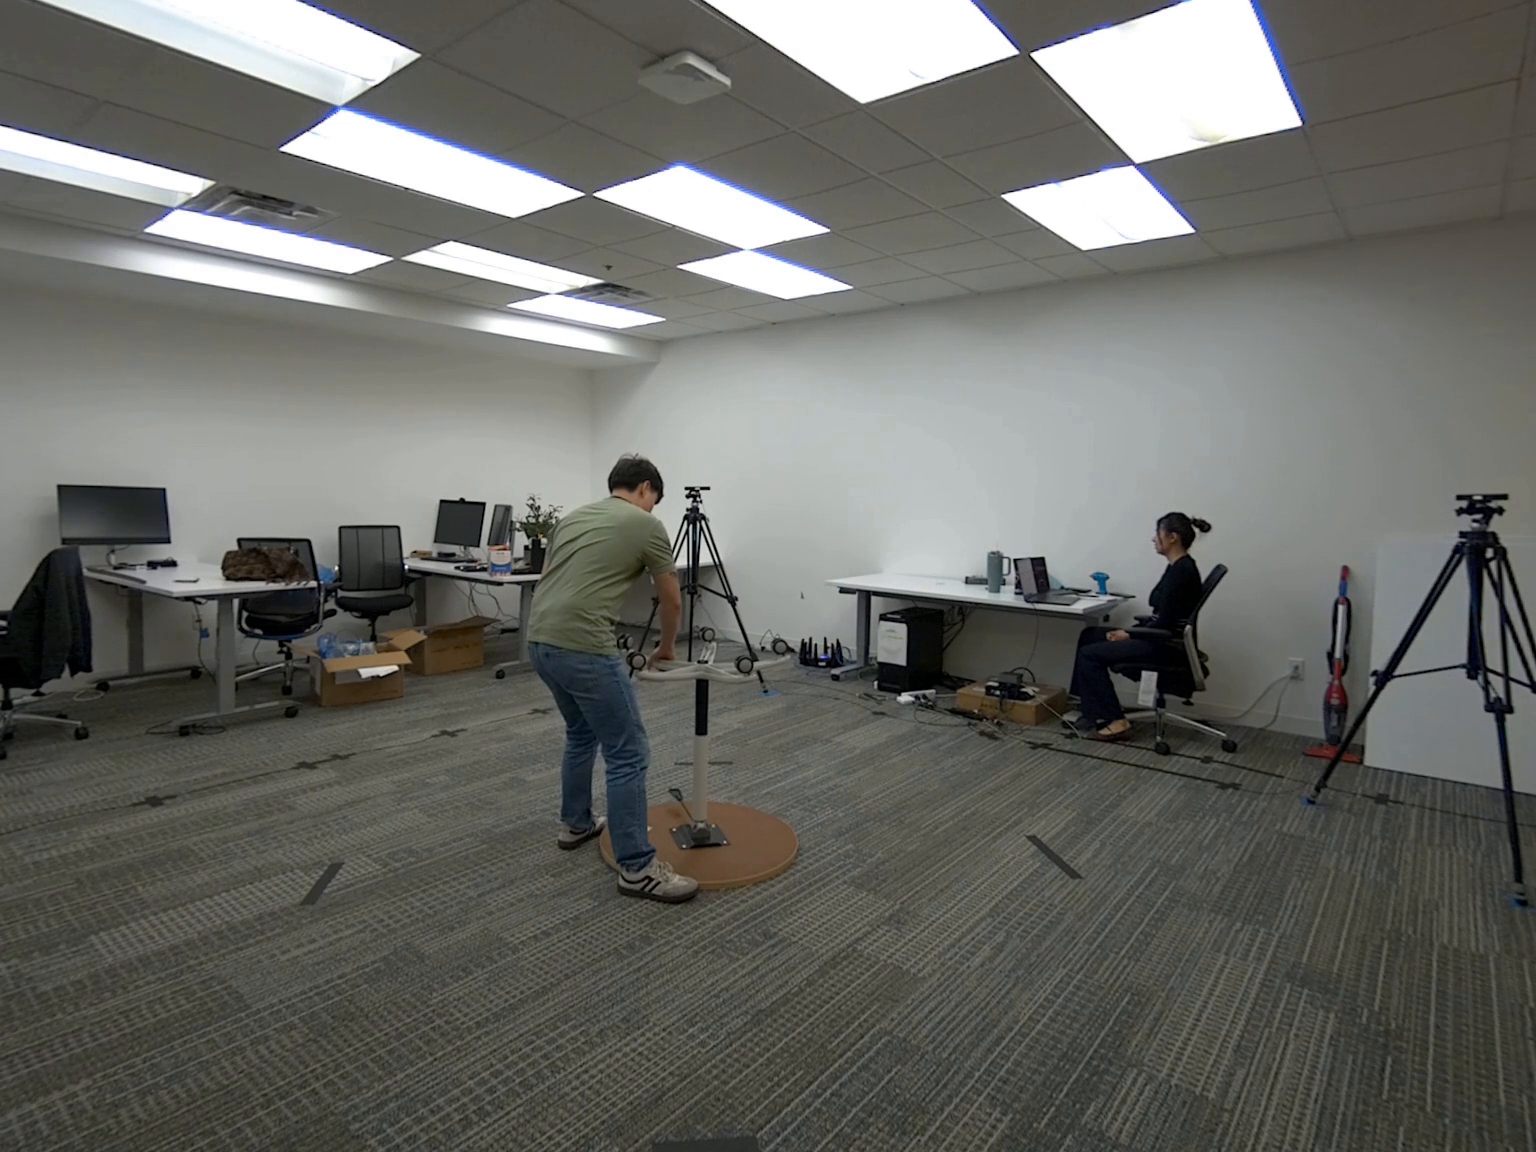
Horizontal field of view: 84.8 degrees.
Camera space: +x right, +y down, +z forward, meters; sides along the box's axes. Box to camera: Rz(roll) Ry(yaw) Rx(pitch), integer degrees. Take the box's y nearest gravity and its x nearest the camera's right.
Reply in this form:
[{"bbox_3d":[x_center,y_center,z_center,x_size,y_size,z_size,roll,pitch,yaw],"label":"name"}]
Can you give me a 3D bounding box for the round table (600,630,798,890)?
[{"bbox_3d":[-0.265,0.649,3.294,0.763,0.791,0.768,1,5,-2],"label":"round table"}]
